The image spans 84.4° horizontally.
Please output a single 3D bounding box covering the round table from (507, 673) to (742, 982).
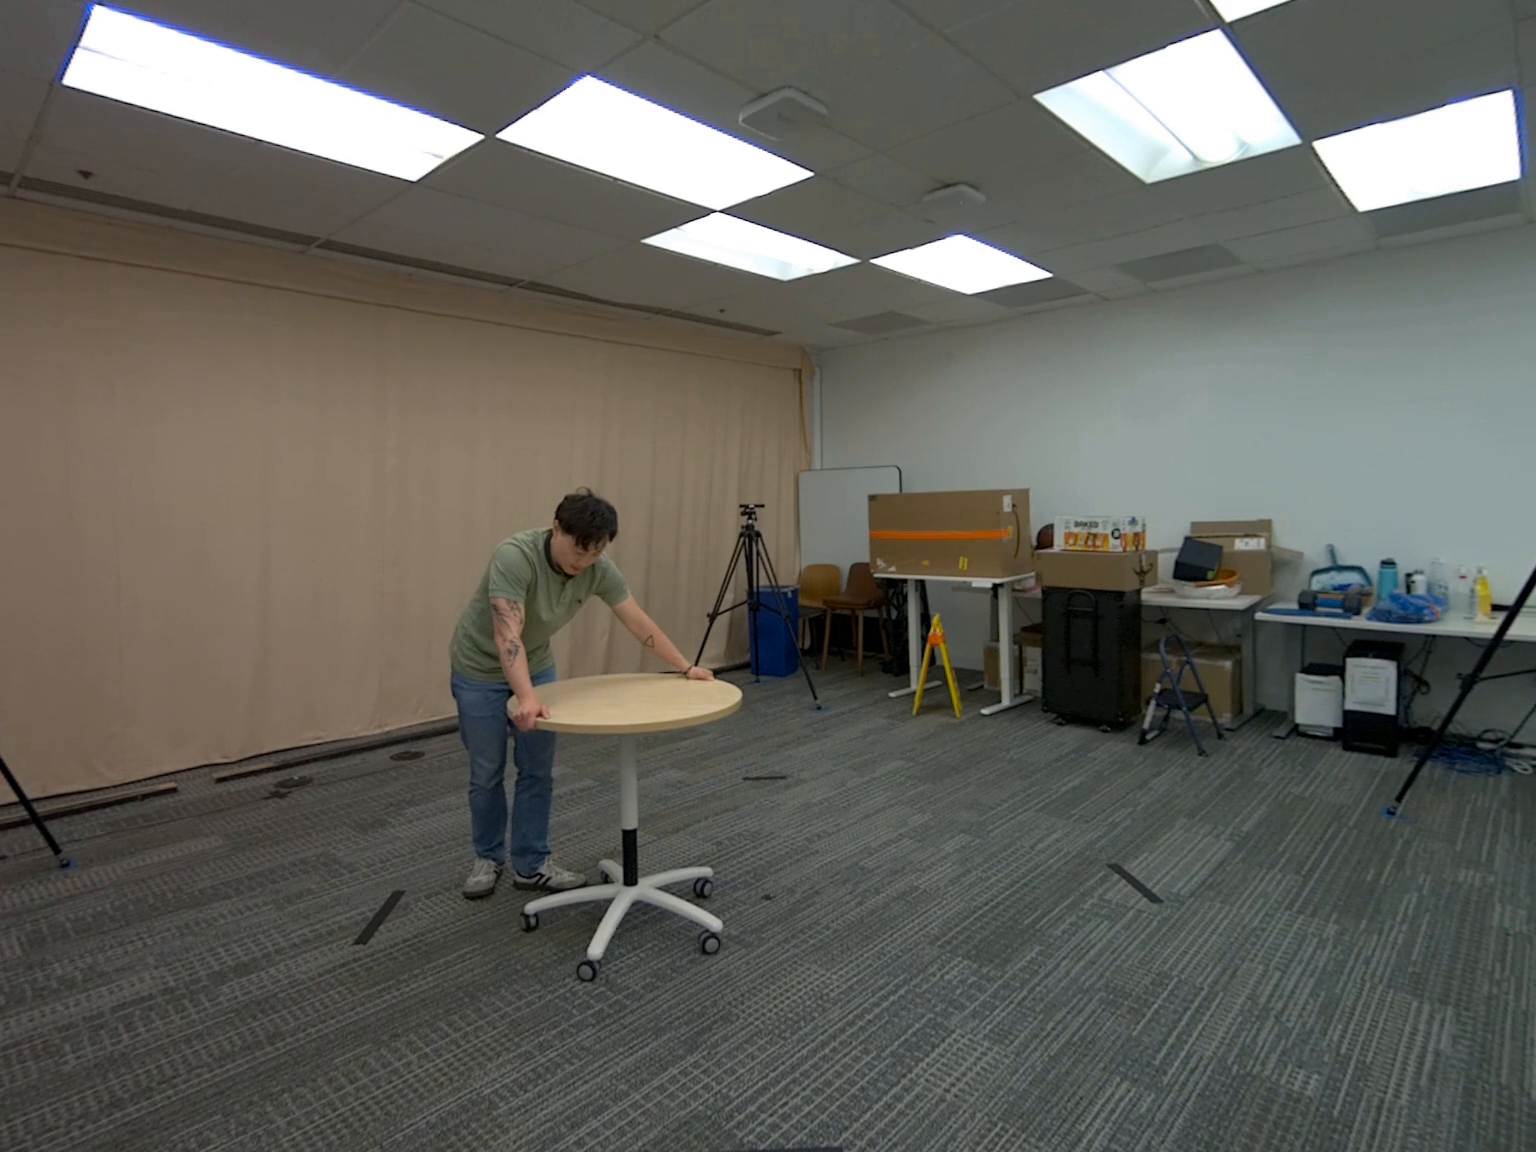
[{"bbox_3d":[-0.463,0.784,2.785,0.763,0.792,0.766,-1,4,-2],"label":"round table"}]
